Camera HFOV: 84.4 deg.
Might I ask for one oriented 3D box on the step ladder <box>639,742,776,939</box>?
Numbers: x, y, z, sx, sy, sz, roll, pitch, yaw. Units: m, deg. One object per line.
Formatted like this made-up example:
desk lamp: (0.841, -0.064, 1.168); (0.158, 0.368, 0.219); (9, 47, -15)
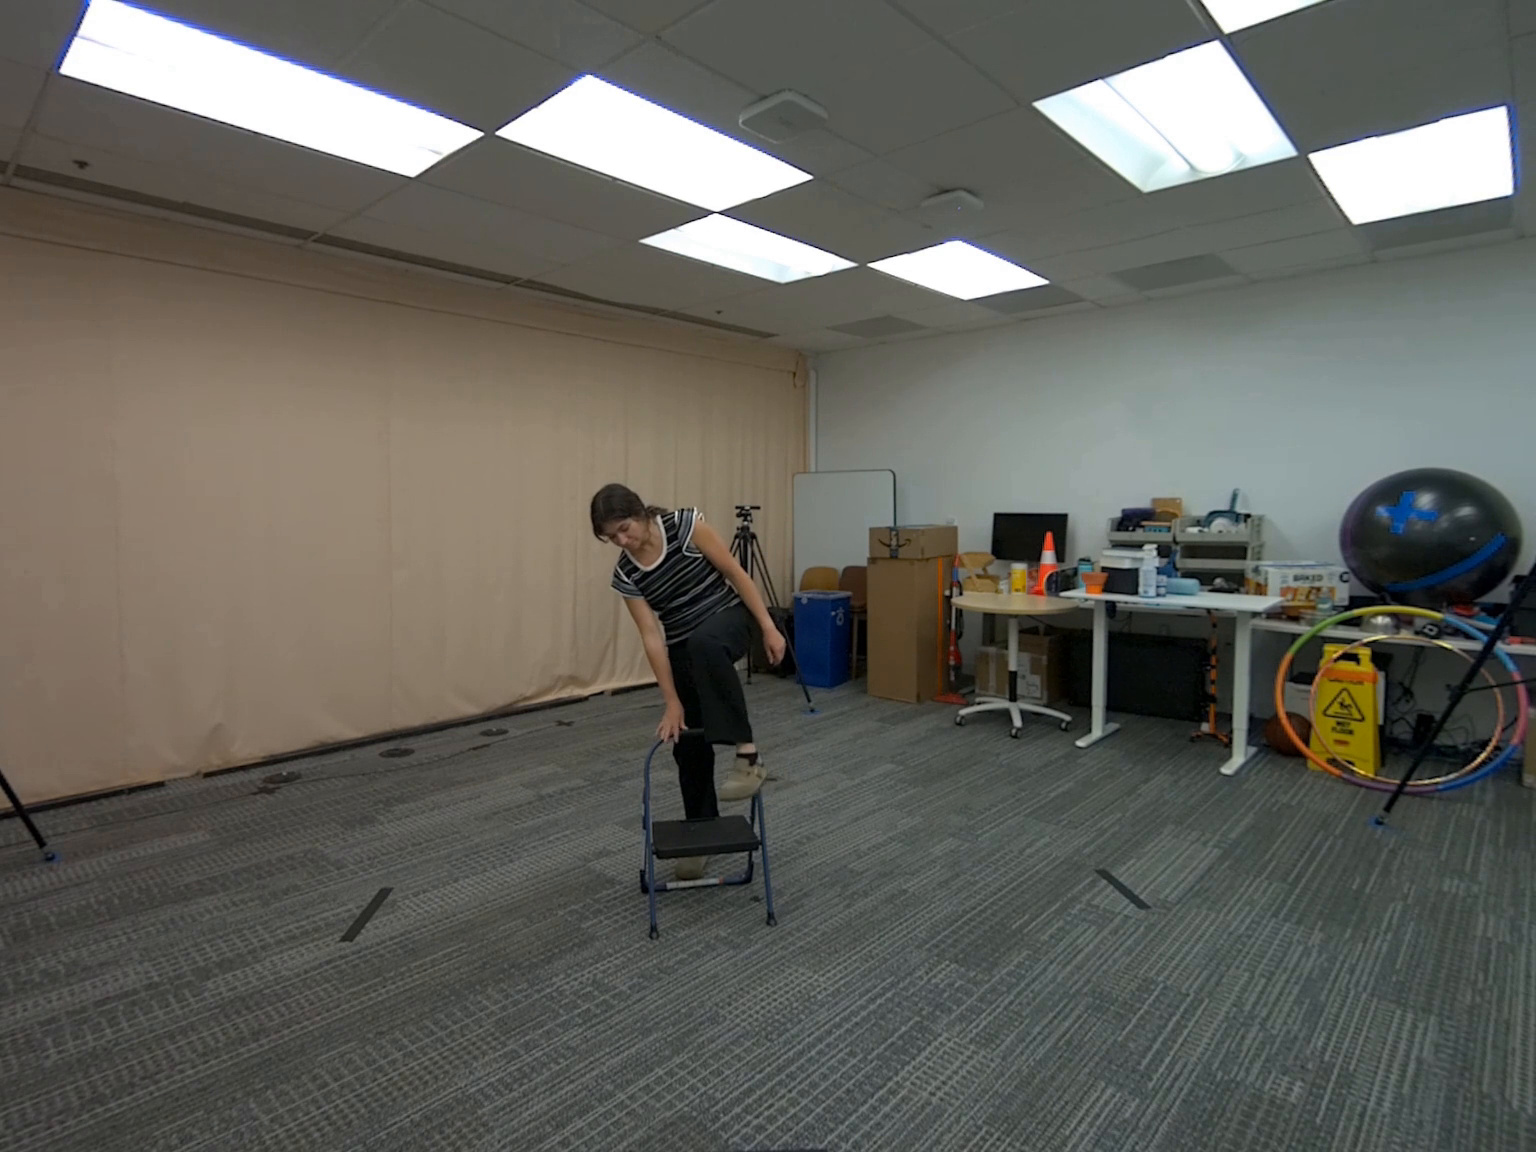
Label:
step ladder: (-0.218, 0.848, 2.913); (0.425, 0.605, 0.355); (-1, 3, -13)
